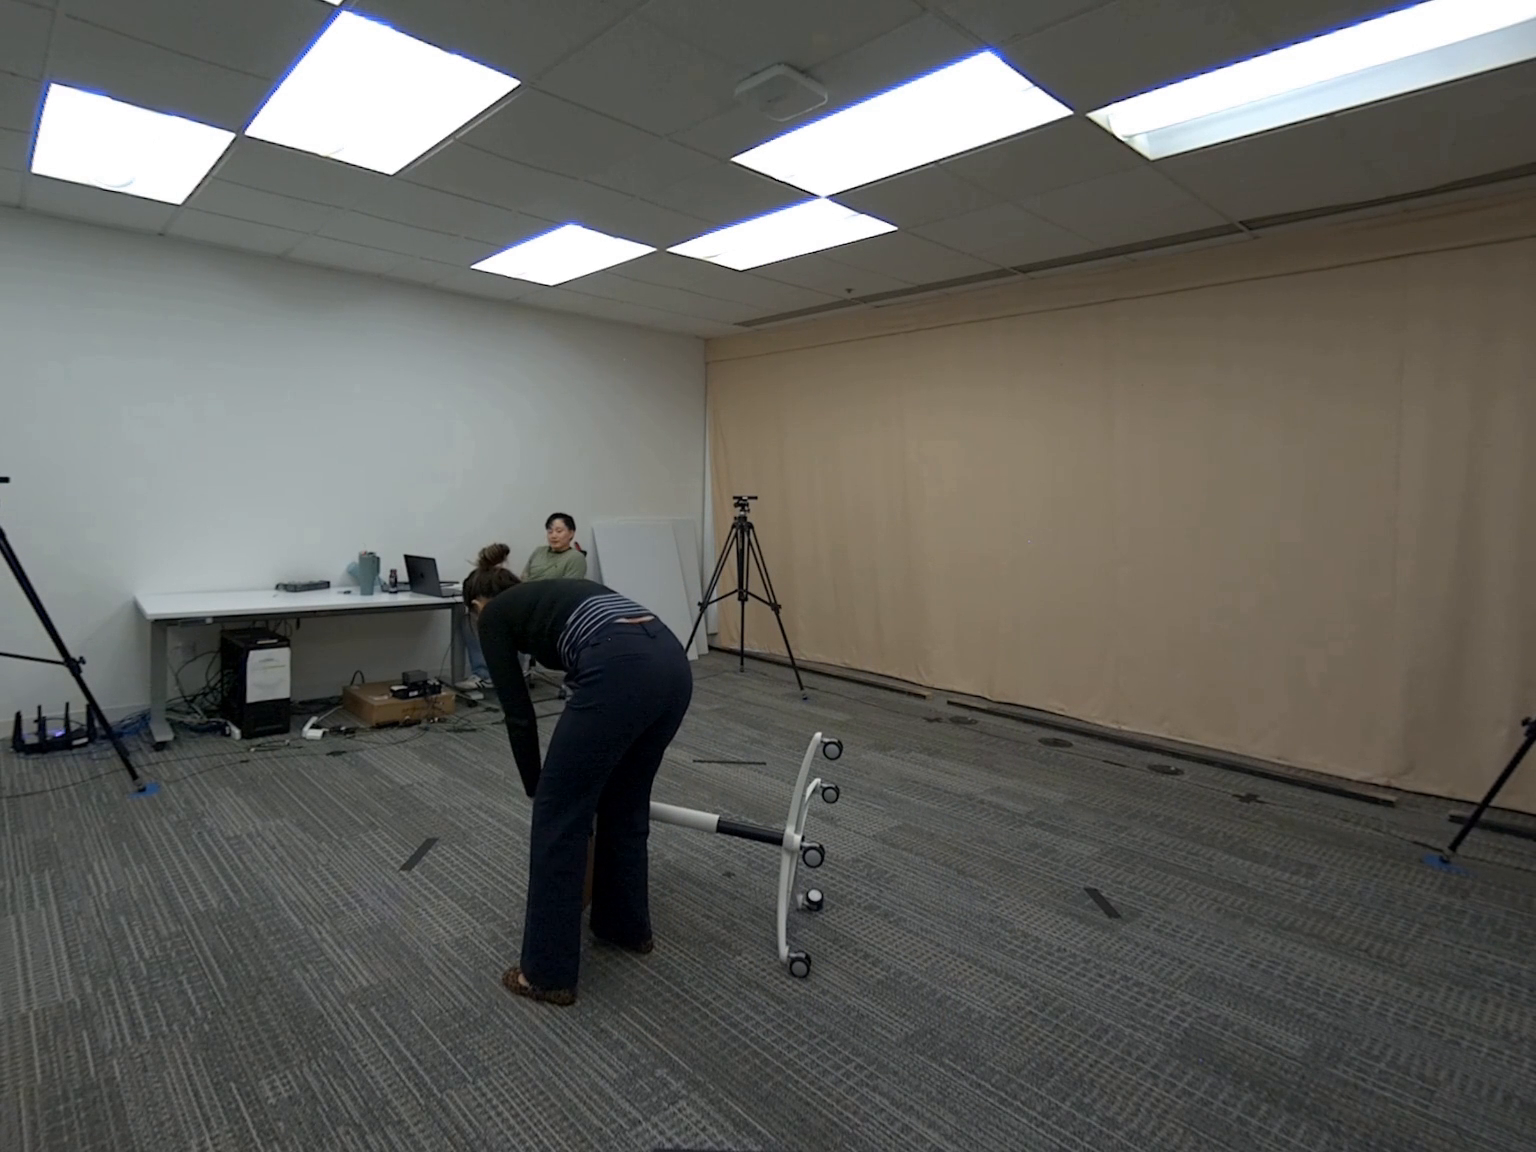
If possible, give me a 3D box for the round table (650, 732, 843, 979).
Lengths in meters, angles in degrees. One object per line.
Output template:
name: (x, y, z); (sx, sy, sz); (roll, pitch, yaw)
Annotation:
round table: (-0.202, 0.803, 2.720); (0.802, 0.761, 0.759); (9, 5, 10)
